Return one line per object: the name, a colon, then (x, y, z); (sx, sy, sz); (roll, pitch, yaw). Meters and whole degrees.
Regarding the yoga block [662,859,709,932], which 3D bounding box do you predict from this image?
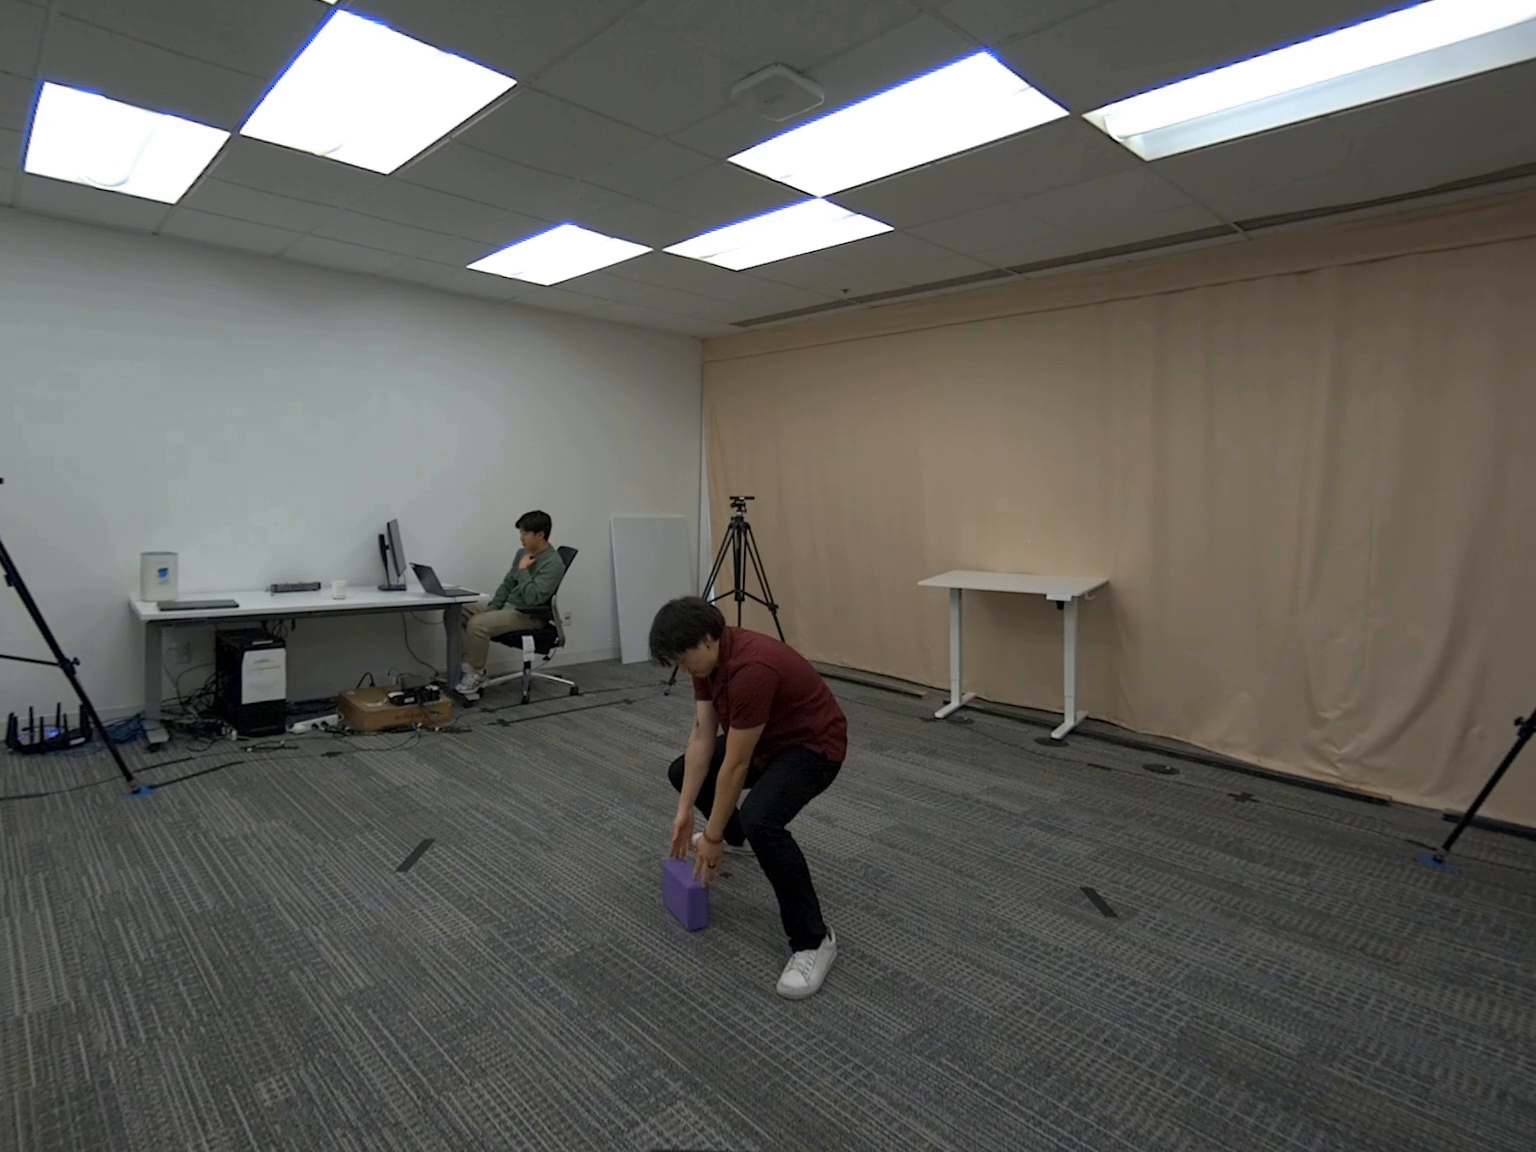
yoga block: (-0.289, 1.055, 2.791); (0.075, 0.148, 0.234); (-2, 6, -28)
